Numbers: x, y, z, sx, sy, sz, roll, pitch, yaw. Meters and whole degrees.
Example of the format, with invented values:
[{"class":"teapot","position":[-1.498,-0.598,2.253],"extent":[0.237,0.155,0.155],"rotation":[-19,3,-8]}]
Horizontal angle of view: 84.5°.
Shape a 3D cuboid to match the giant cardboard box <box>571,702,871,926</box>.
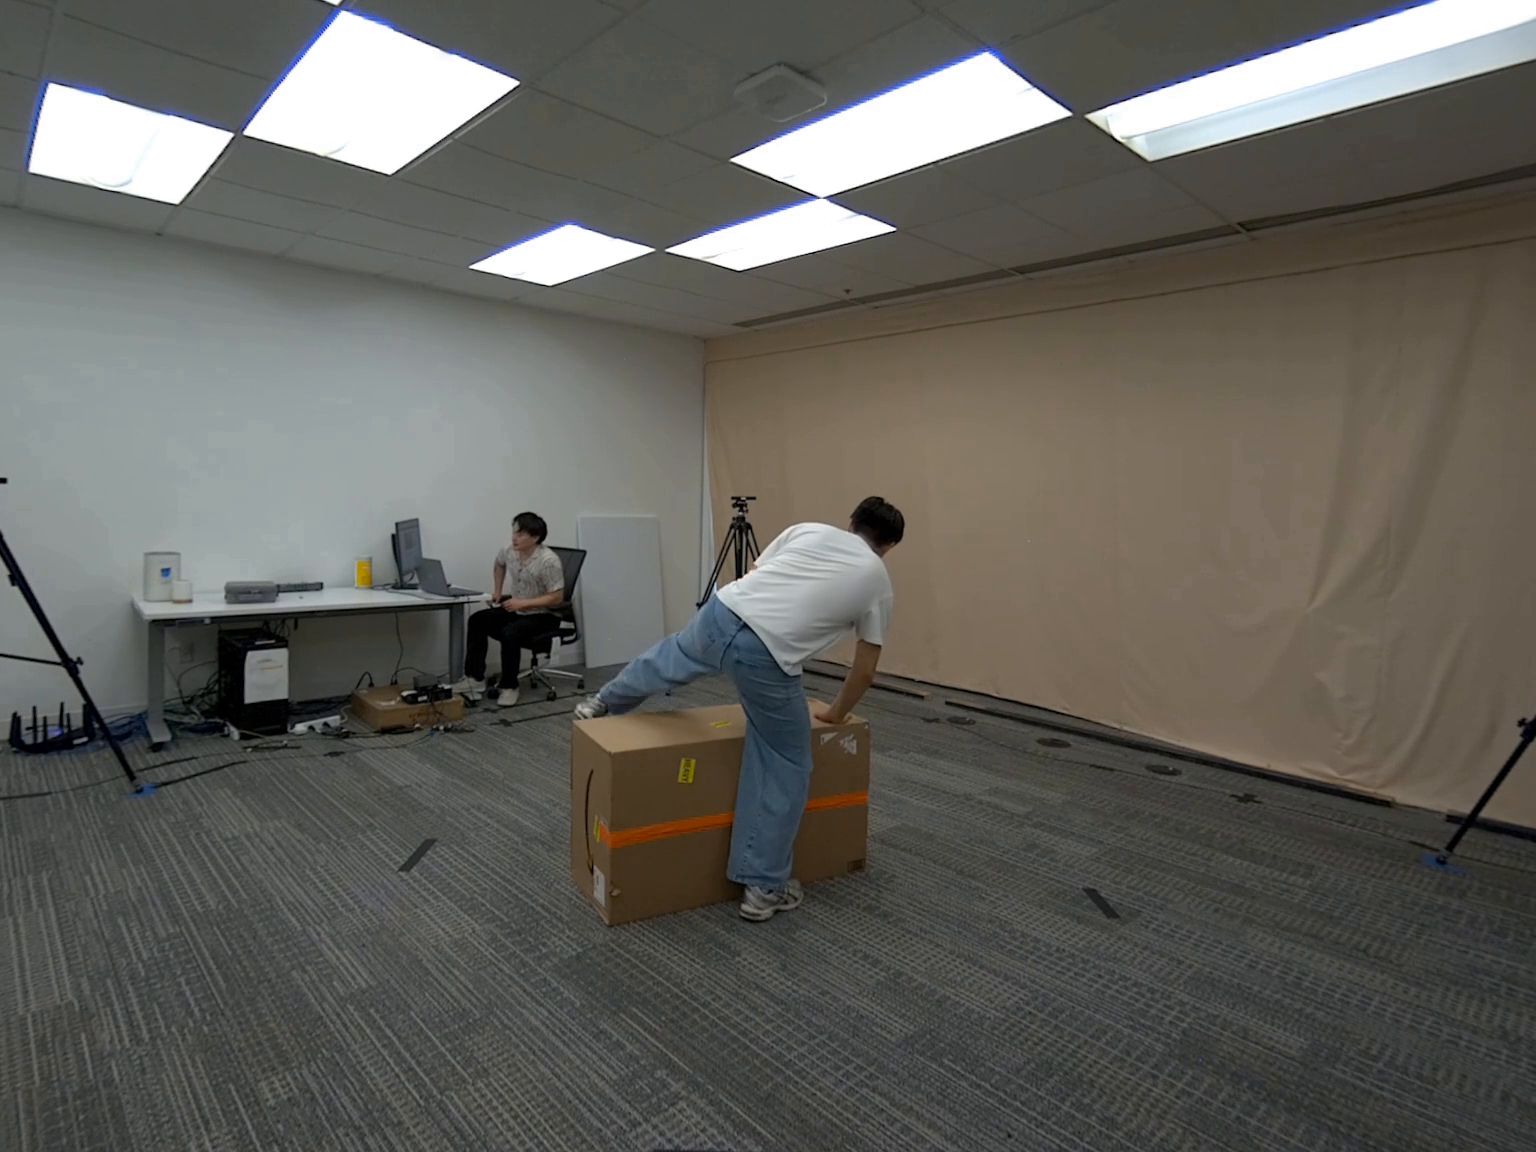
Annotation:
[{"class":"giant cardboard box","position":[-0.174,0.819,3.110],"extent":[1.006,0.576,0.435],"rotation":[-1,4,-28]}]
